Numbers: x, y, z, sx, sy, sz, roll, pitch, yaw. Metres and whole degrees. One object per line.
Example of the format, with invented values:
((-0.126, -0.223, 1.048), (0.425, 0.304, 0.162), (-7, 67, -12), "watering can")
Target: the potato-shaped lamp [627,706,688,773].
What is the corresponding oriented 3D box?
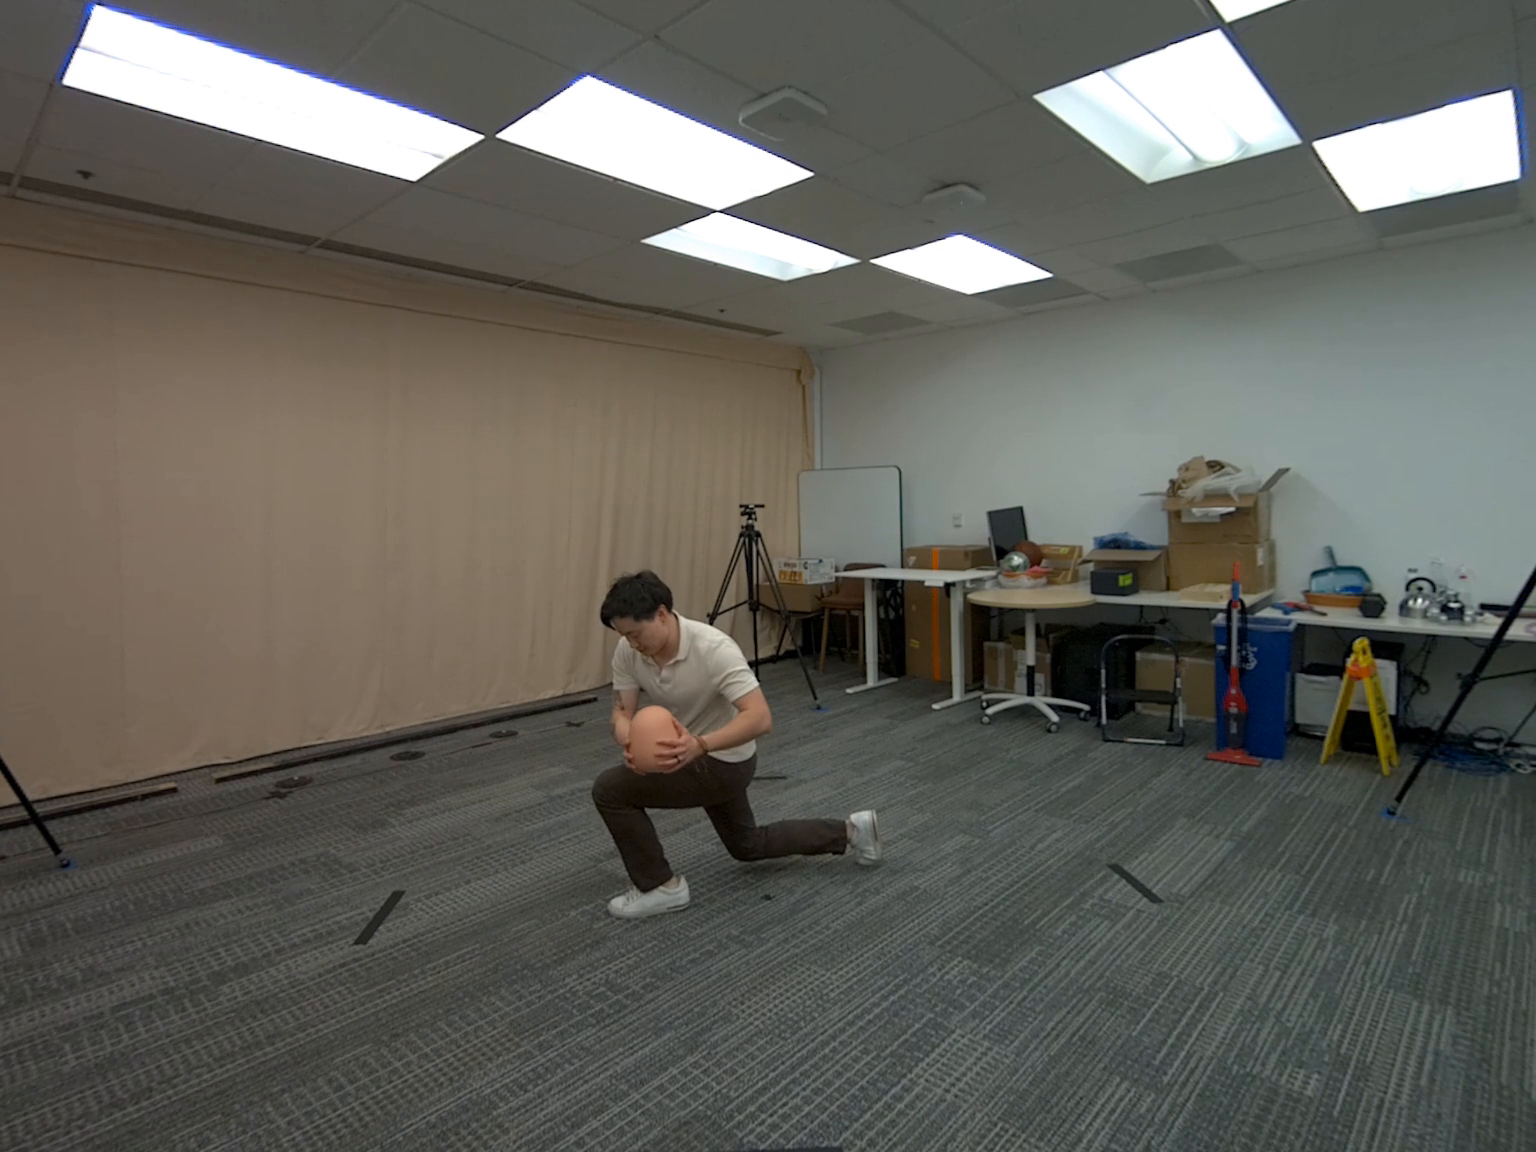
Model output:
((-0.360, 0.493, 2.622), (0.168, 0.200, 0.166), (-17, -10, 29), "potato-shaped lamp")
